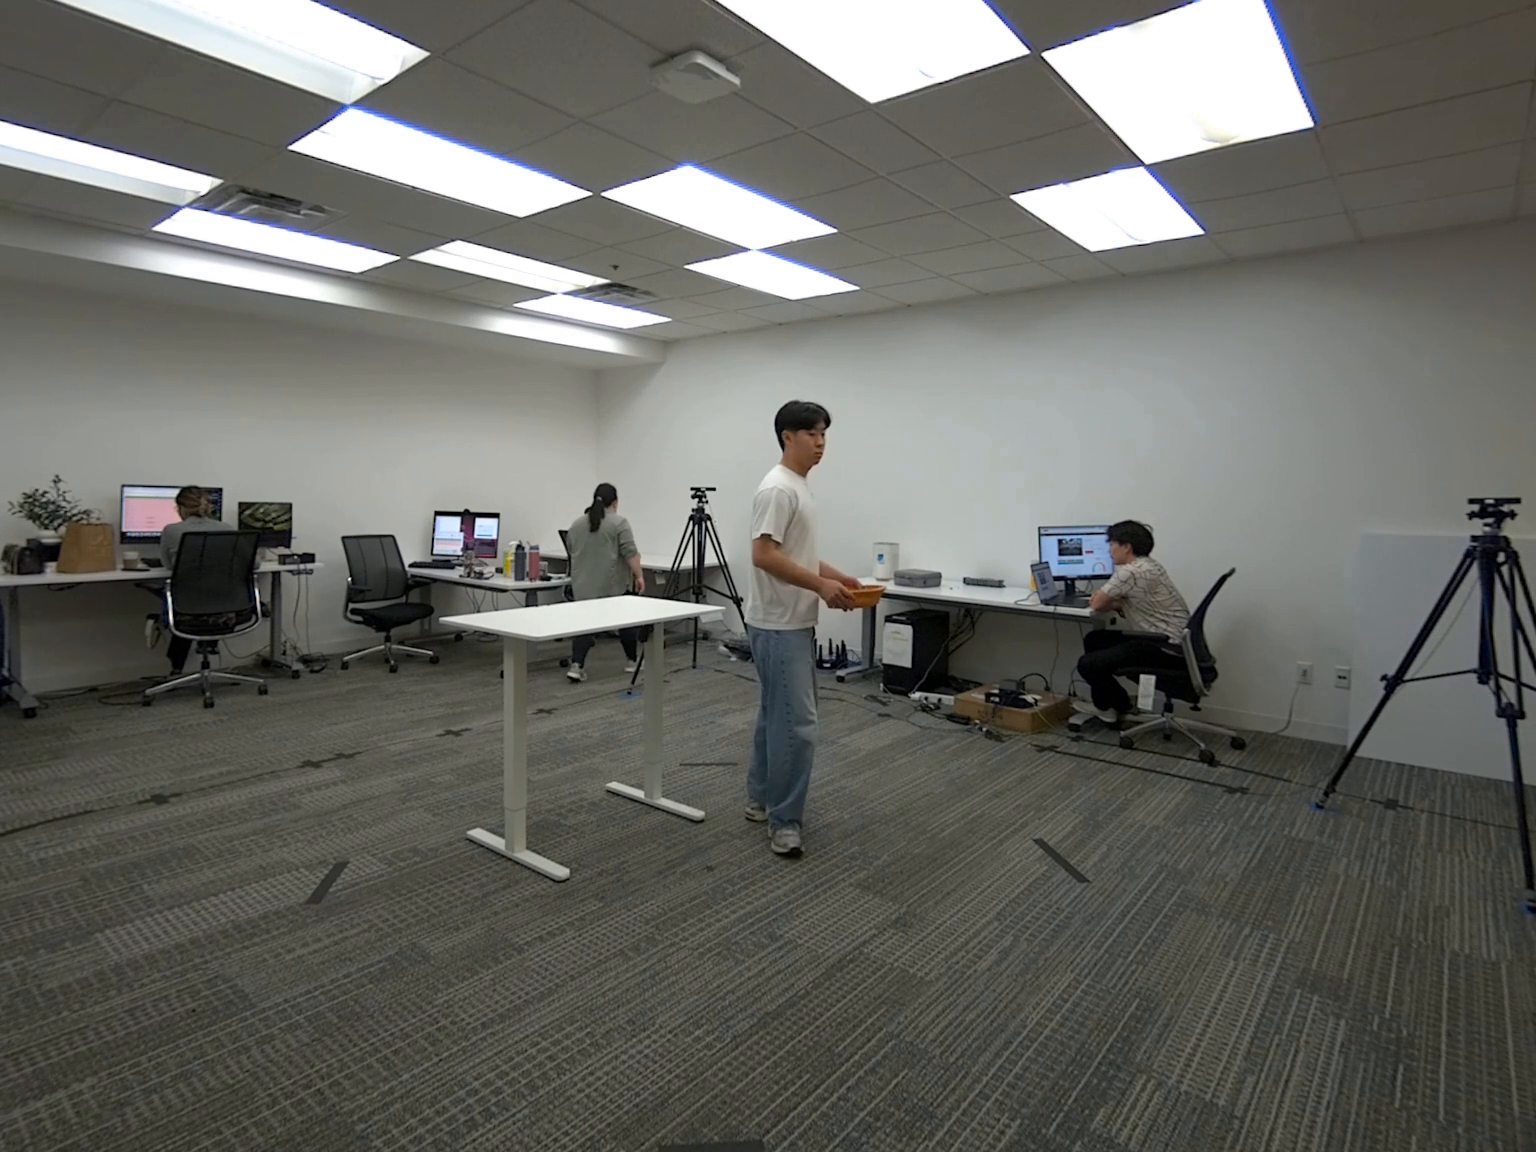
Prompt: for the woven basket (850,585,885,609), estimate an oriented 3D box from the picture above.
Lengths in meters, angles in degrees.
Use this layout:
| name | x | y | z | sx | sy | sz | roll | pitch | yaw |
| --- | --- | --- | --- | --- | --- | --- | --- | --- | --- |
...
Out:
| name | x | y | z | sx | sy | sz | roll | pitch | yaw |
| --- | --- | --- | --- | --- | --- | --- | --- | --- | --- |
| woven basket | 0.319 | 0.083 | 3.417 | 0.258 | 0.073 | 0.343 | -1 | 3 | 22 |
